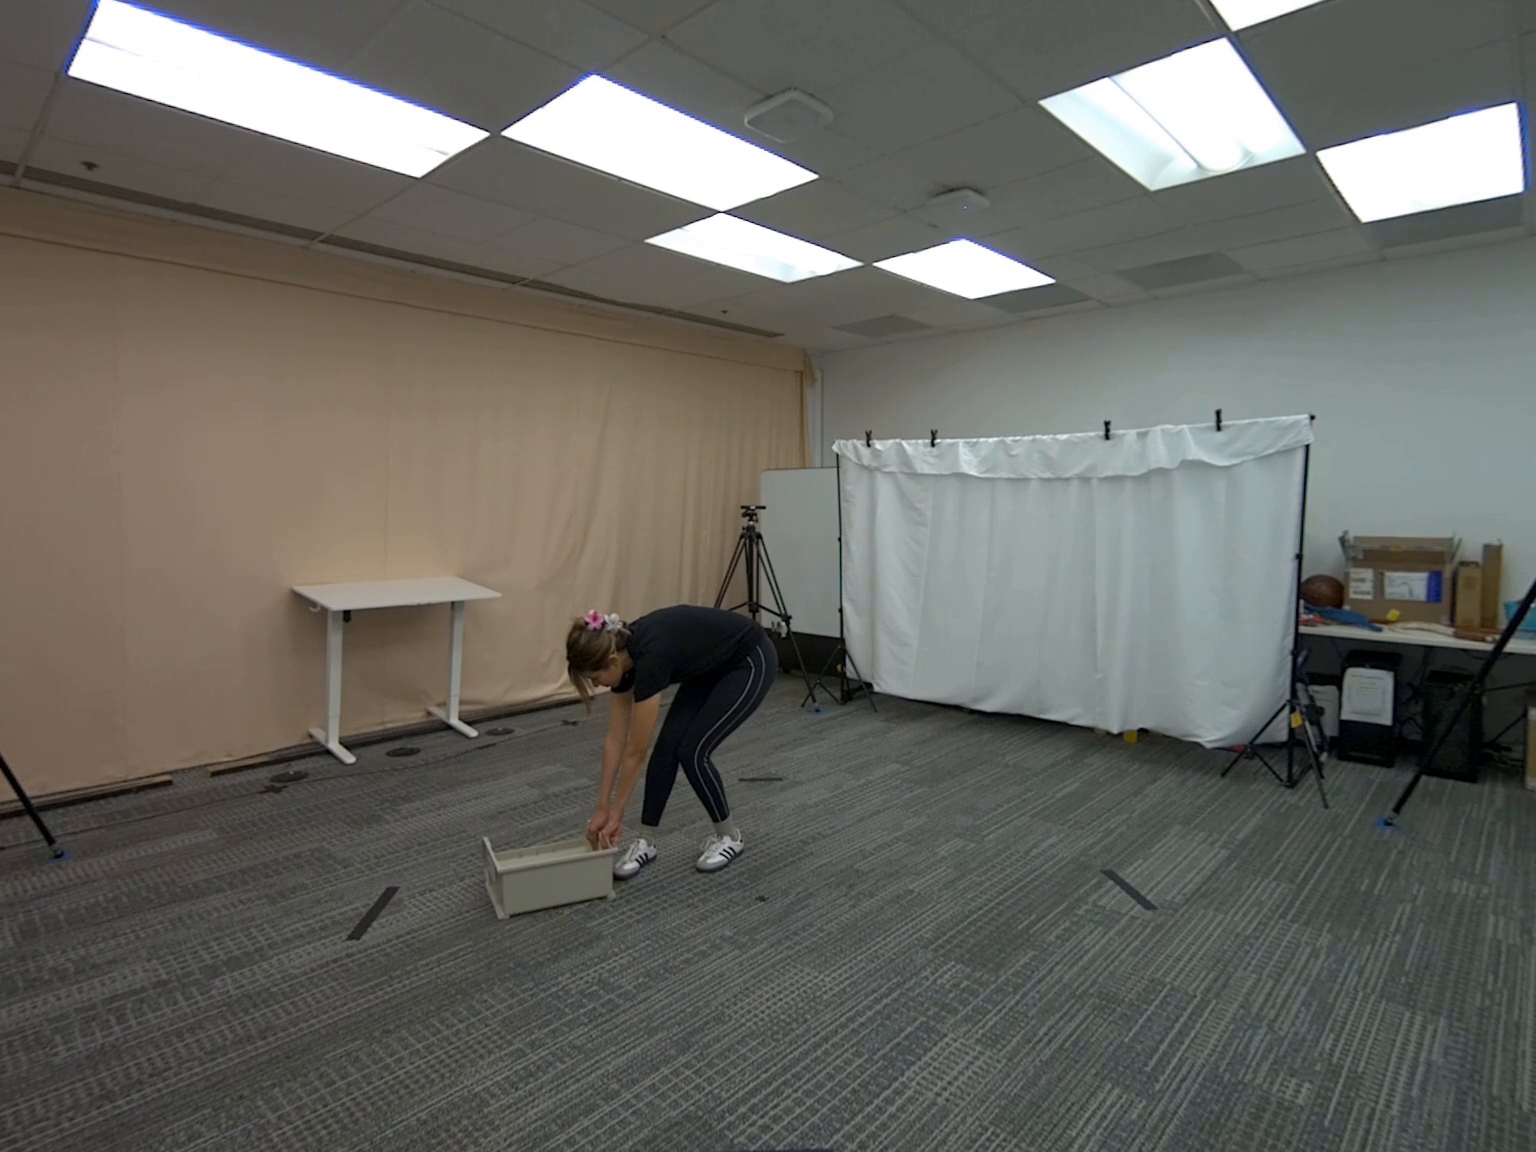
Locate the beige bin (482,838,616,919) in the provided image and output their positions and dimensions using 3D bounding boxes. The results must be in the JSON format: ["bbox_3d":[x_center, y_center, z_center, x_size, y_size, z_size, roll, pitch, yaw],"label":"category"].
[{"bbox_3d":[-0.807,1.053,3.075,0.412,0.188,0.388,-1,5,-26],"label":"beige bin"}]
